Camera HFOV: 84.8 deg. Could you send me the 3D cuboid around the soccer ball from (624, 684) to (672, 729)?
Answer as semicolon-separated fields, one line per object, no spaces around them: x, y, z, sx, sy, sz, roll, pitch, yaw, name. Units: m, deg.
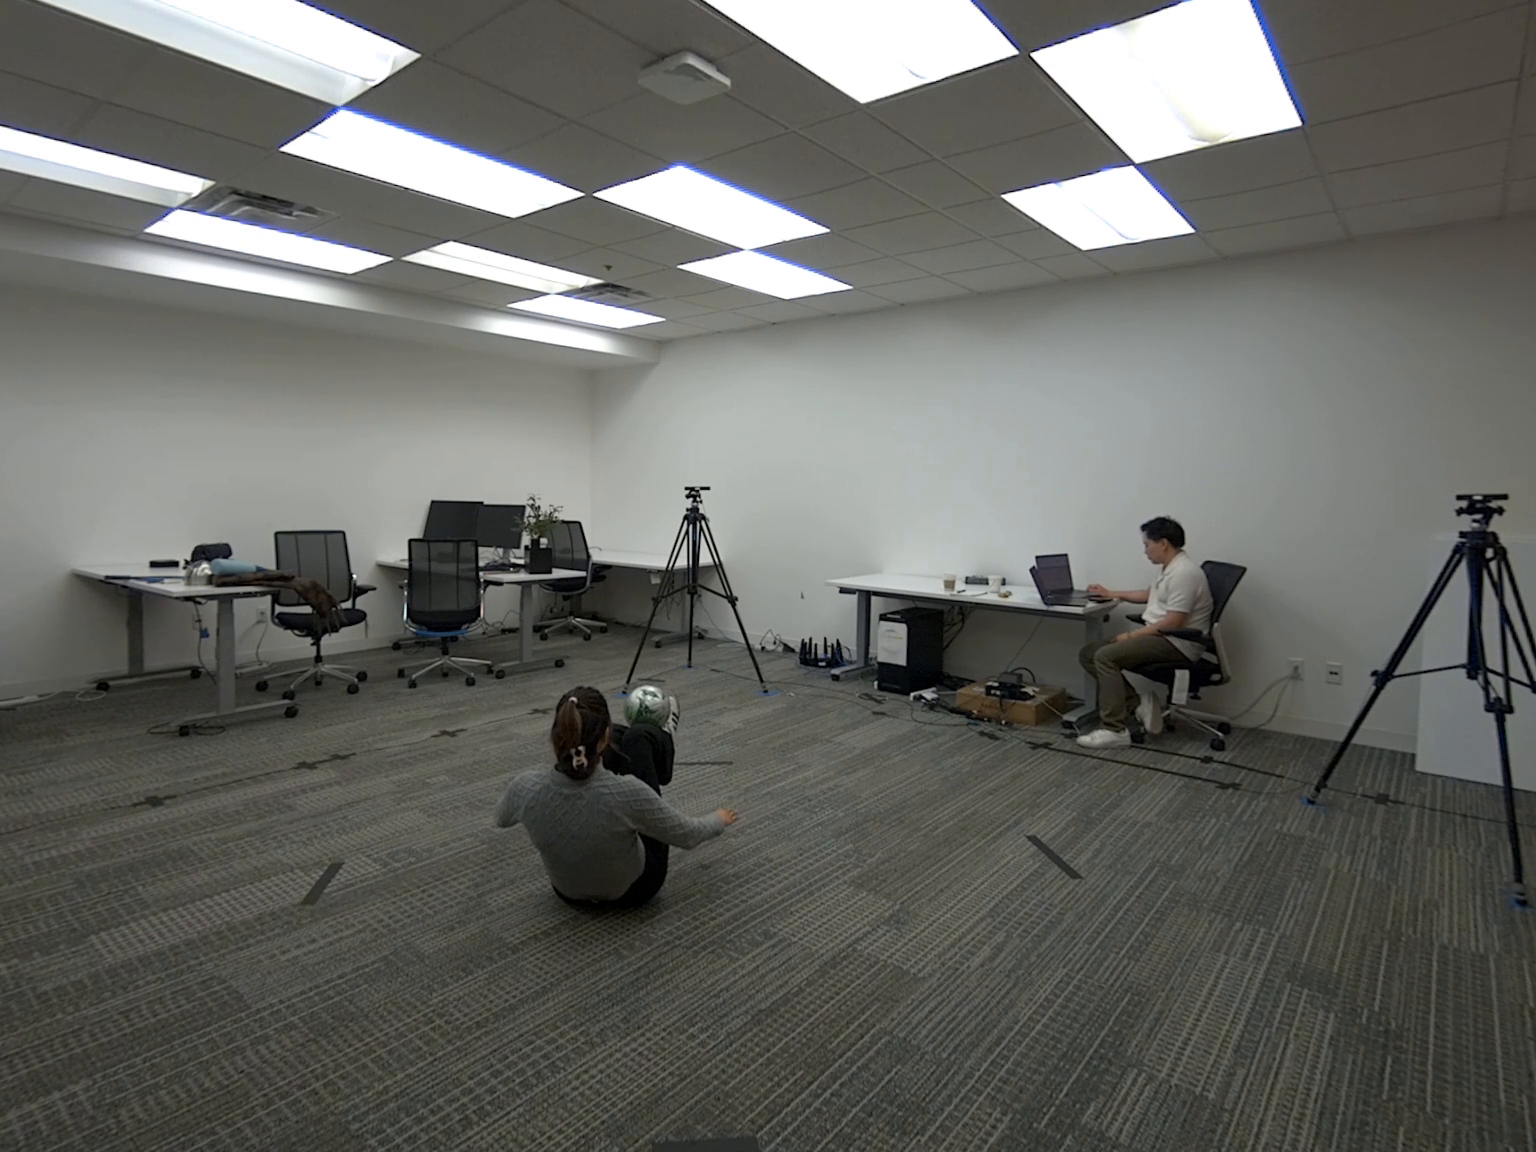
-0.487;0.529;3.367;0.187;0.187;0.188;0;4;-2;soccer ball
